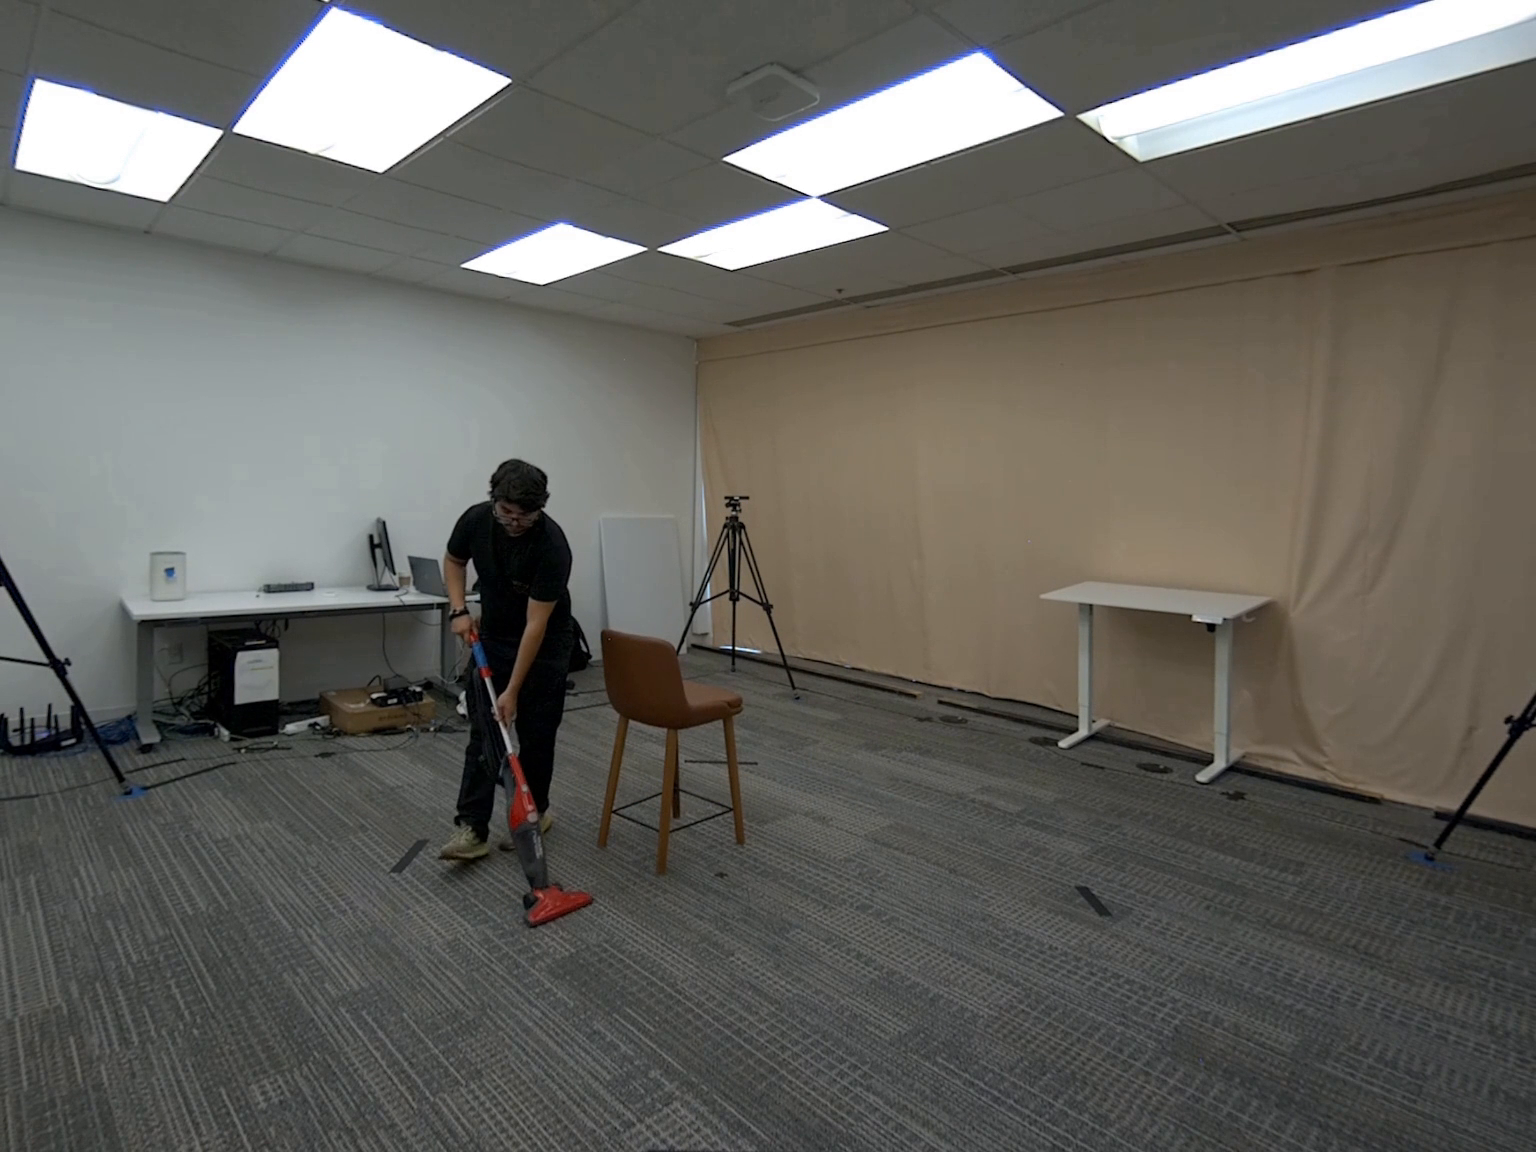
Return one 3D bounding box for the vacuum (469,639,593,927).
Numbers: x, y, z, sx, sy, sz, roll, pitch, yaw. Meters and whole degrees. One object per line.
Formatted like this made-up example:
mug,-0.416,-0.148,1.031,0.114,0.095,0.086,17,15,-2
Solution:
vacuum,-0.930,0.666,2.999,0.247,1.070,0.144,-2,-30,-46
